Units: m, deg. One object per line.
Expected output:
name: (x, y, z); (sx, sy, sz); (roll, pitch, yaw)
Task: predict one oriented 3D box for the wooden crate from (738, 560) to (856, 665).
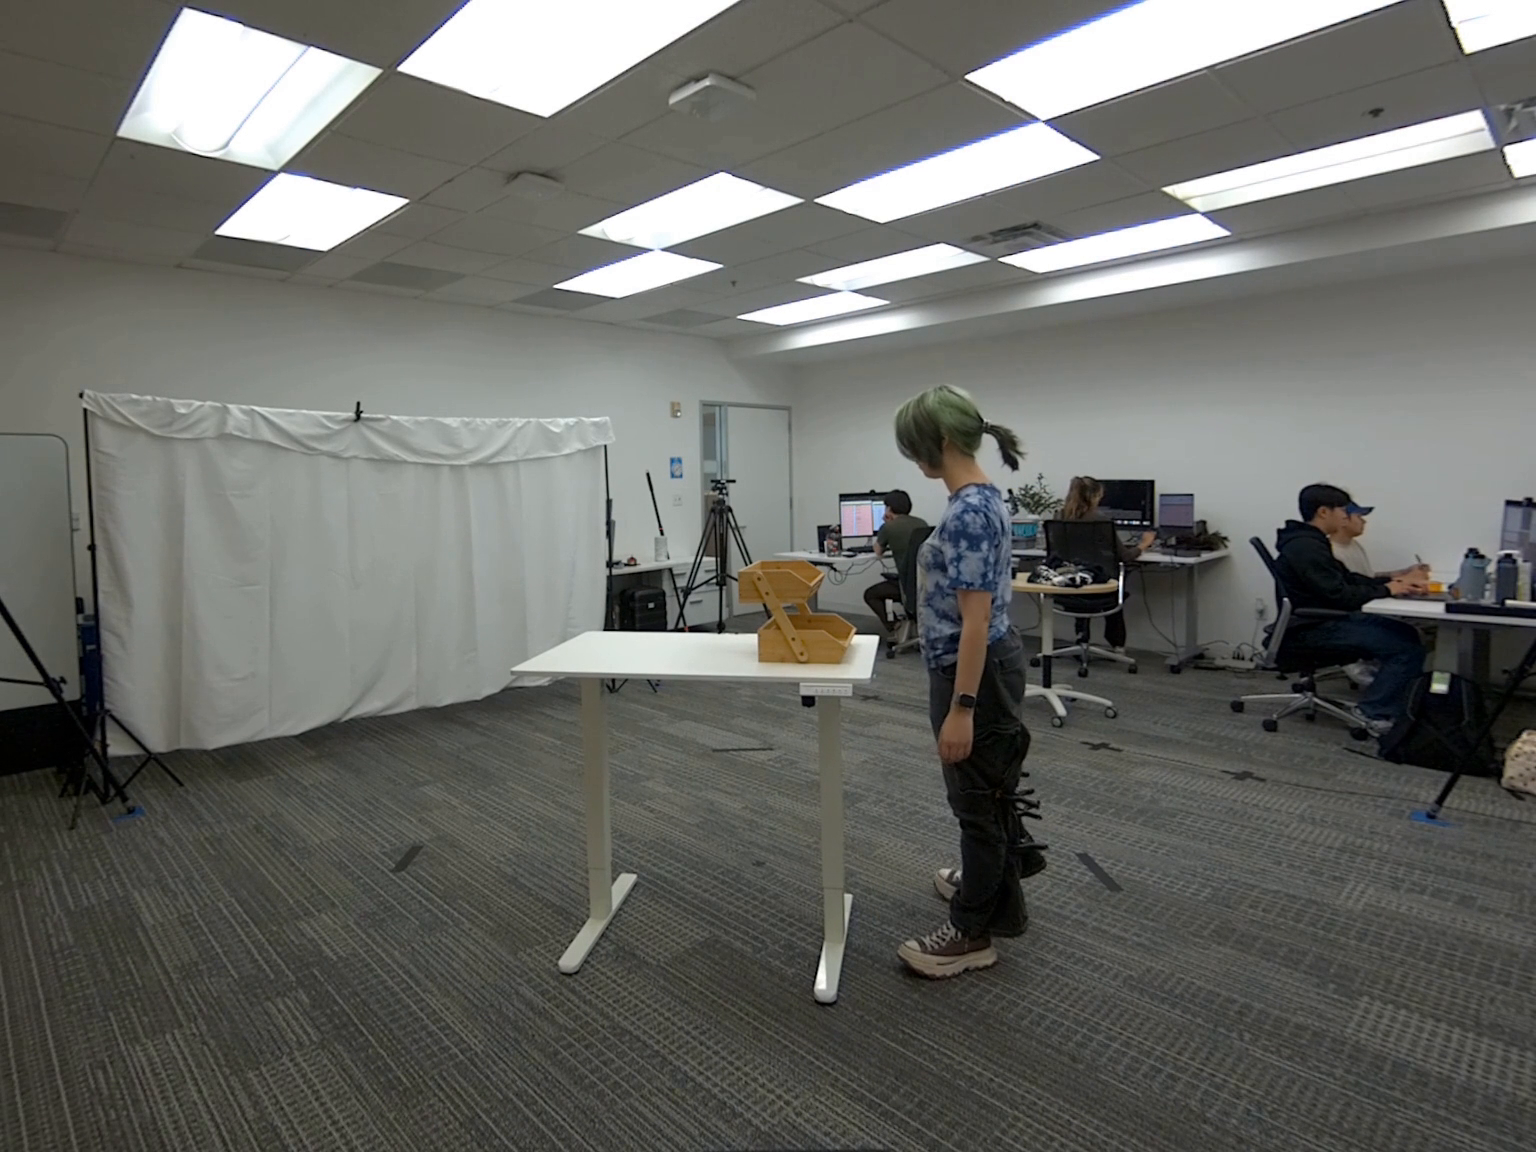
wooden crate: (0.105, 0.097, 2.518); (0.305, 0.272, 0.322); (0, 5, 10)
